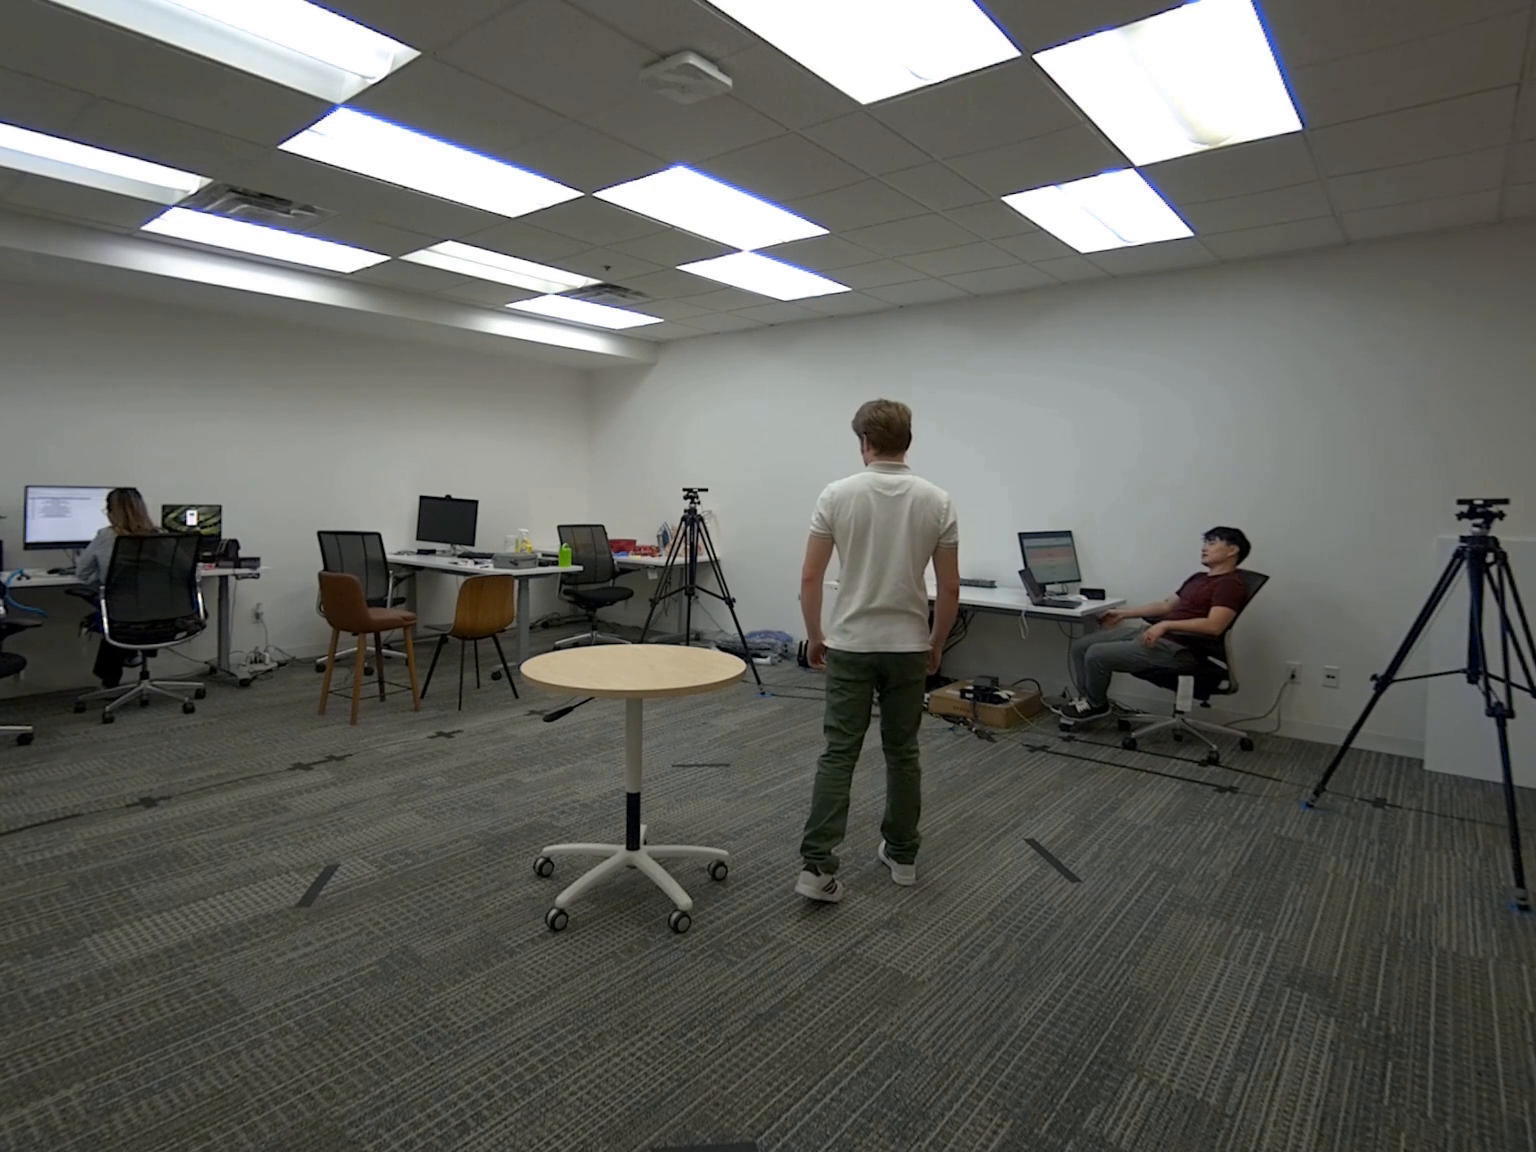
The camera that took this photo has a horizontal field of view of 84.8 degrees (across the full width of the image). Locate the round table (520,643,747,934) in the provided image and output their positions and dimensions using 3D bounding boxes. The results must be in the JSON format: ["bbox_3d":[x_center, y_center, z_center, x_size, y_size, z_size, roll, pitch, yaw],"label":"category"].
[{"bbox_3d":[-0.474,0.694,2.933,0.763,0.791,0.768,0,4,-2],"label":"round table"}]
